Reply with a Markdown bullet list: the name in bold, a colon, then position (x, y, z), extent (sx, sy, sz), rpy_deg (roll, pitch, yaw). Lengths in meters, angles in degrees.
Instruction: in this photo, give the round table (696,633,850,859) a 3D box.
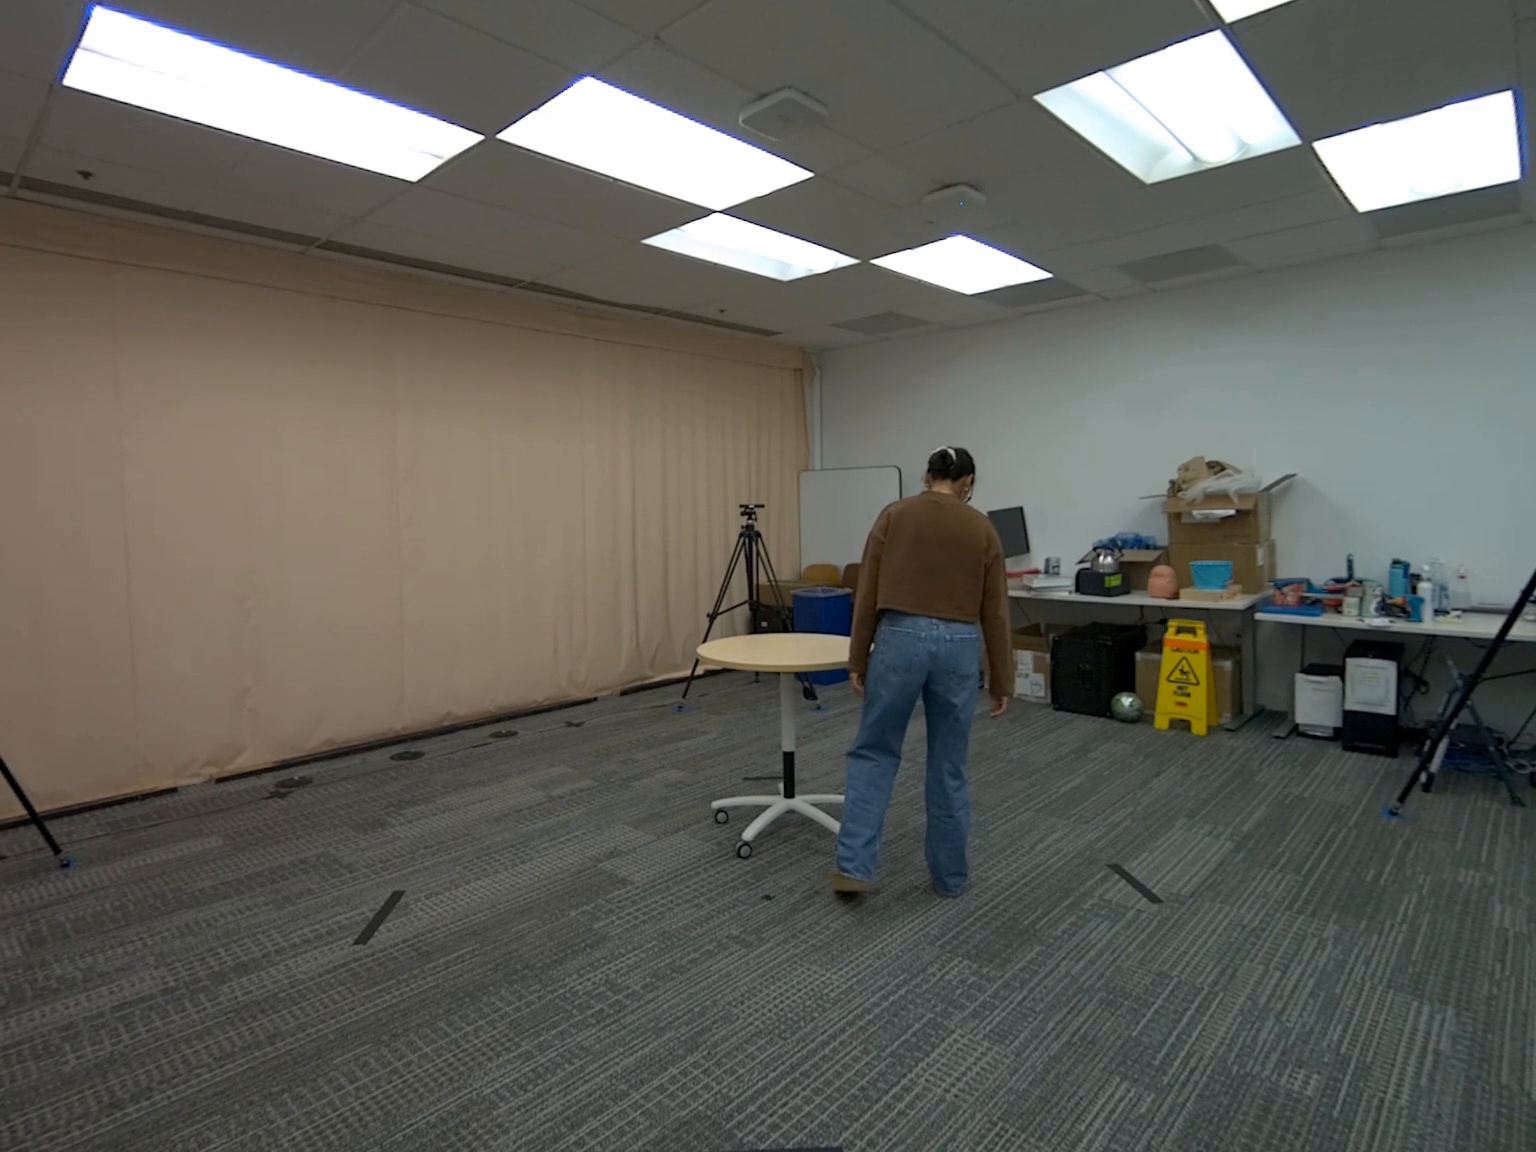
- **round table**: position (0.090, 0.697, 3.580), extent (0.763, 0.792, 0.766), rpy_deg (-1, 4, -2)
